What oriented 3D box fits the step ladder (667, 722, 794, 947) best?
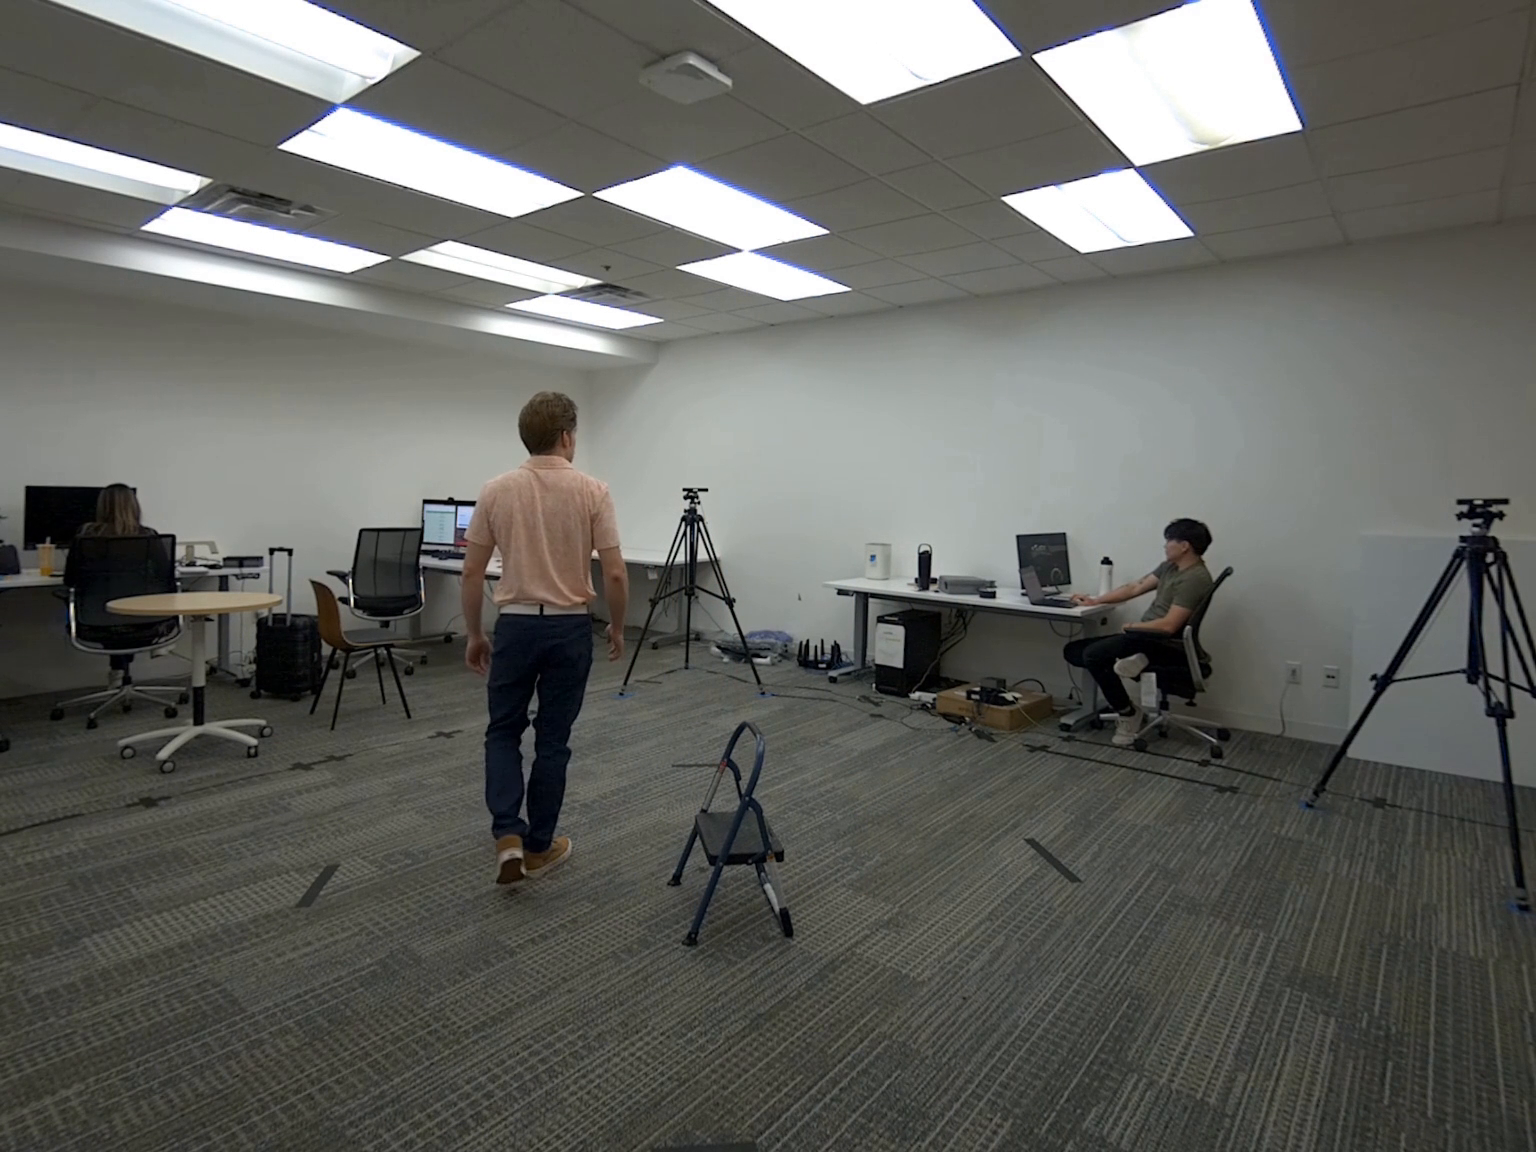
[{"bbox_3d":[-0.128,0.801,2.800,0.344,0.604,0.438,1,4,-13],"label":"step ladder"}]
